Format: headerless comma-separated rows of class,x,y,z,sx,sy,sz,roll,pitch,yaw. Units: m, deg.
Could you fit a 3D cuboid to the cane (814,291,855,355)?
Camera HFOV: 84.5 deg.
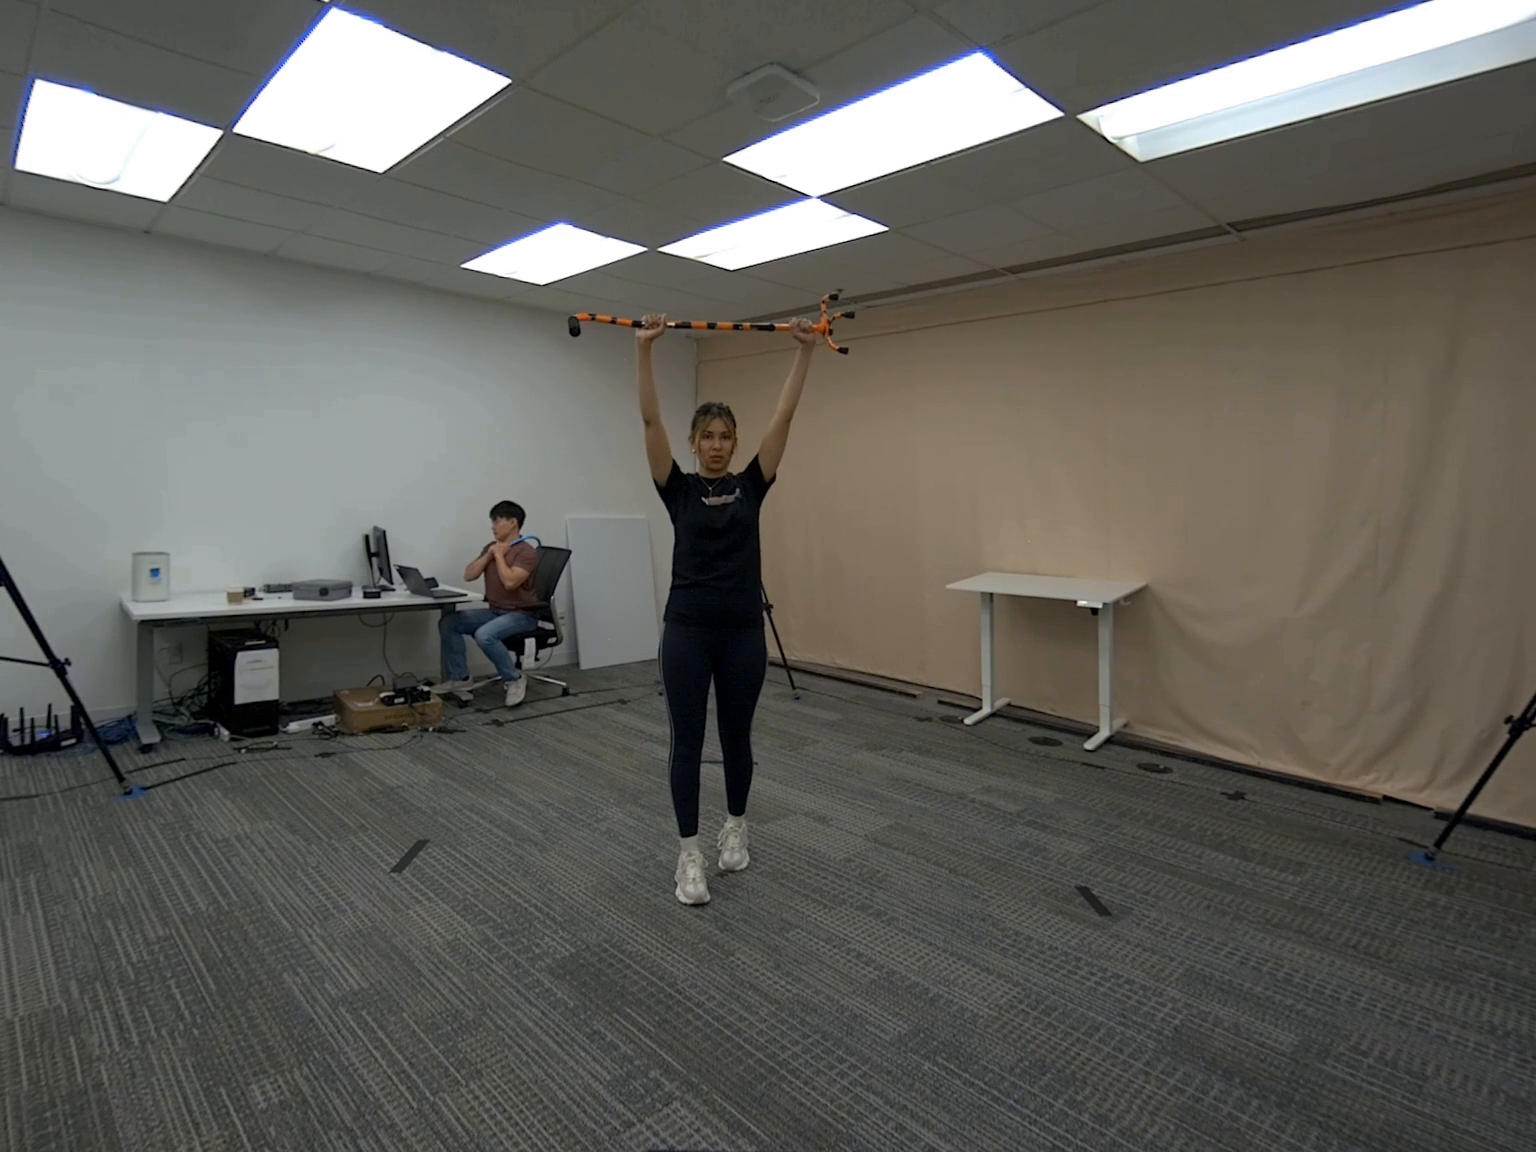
cane,-0.194,-0.827,2.735,0.899,0.149,0.212,-3,37,-13
